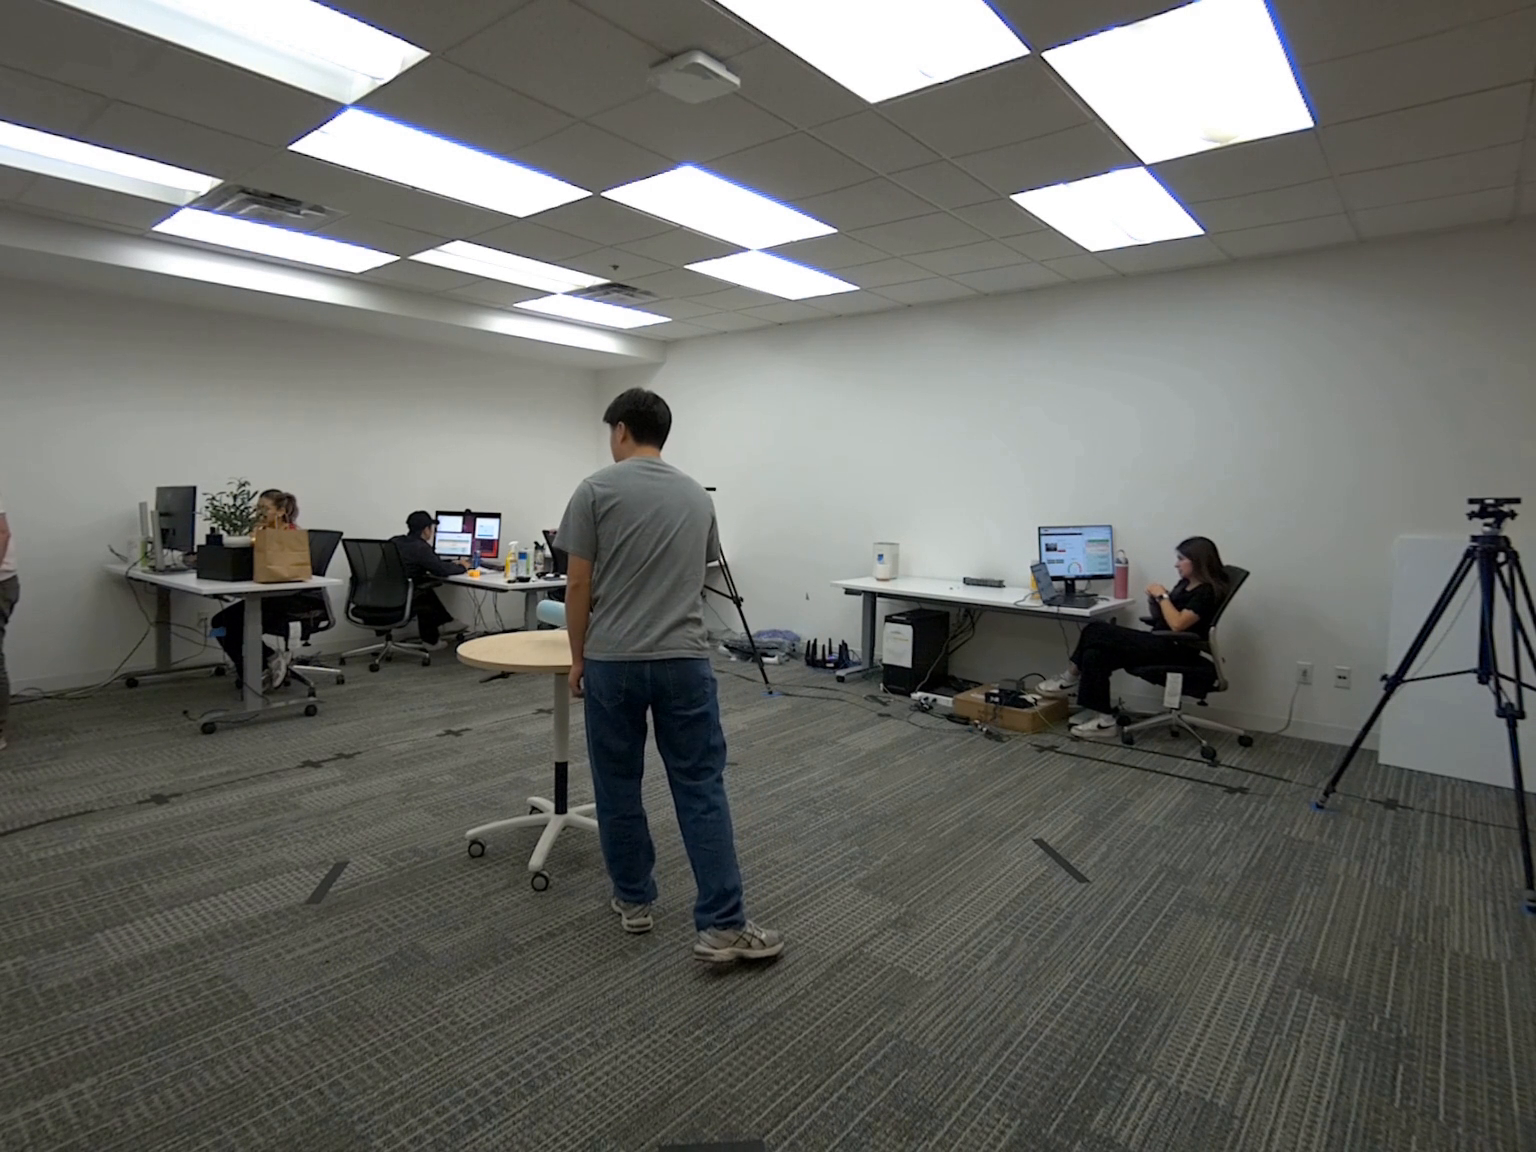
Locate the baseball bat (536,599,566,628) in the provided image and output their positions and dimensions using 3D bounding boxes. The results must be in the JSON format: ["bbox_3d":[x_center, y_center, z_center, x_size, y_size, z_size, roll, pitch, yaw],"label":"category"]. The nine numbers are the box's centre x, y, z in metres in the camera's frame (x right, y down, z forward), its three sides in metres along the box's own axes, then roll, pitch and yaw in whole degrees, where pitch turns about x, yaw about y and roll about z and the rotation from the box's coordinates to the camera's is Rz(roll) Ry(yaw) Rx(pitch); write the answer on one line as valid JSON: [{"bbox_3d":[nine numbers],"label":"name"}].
[{"bbox_3d":[-0.667,0.172,3.215,0.562,0.088,0.086,11,9,35],"label":"baseball bat"}]
